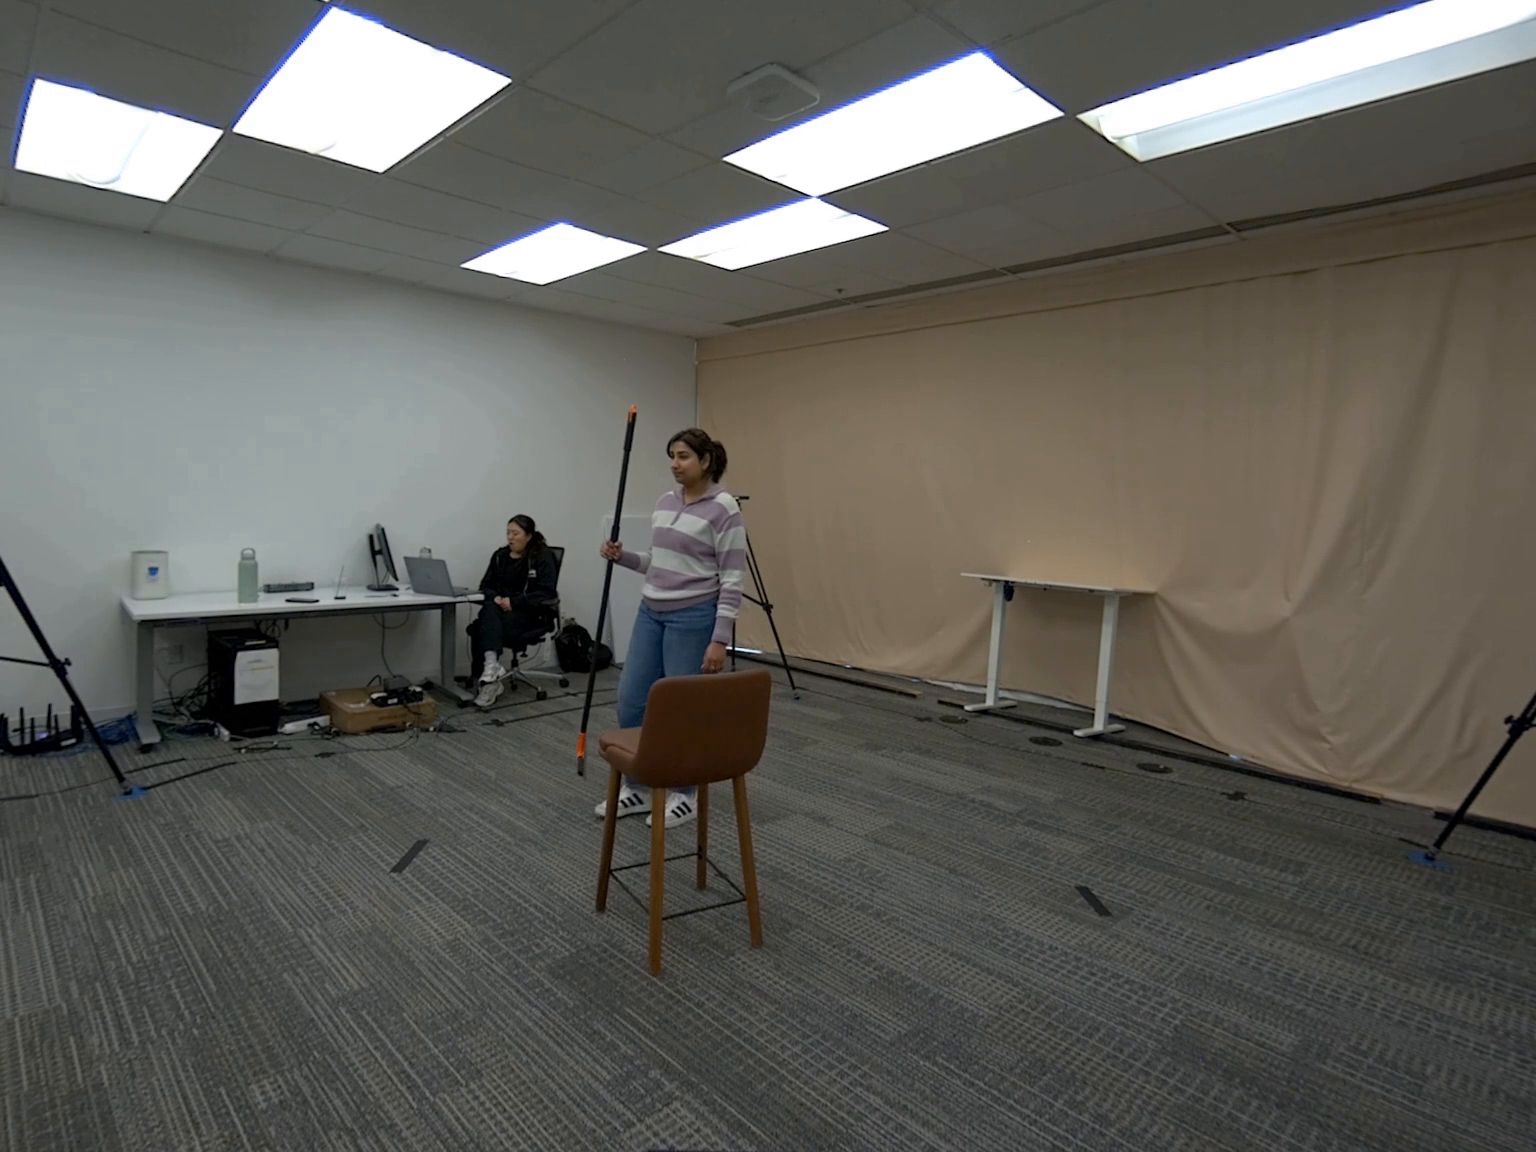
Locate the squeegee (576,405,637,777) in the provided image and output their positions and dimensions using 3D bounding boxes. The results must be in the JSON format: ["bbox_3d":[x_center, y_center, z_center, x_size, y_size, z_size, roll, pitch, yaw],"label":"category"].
[{"bbox_3d":[-0.692,0.062,3.553,0.052,1.531,0.443,10,7,-12],"label":"squeegee"}]
